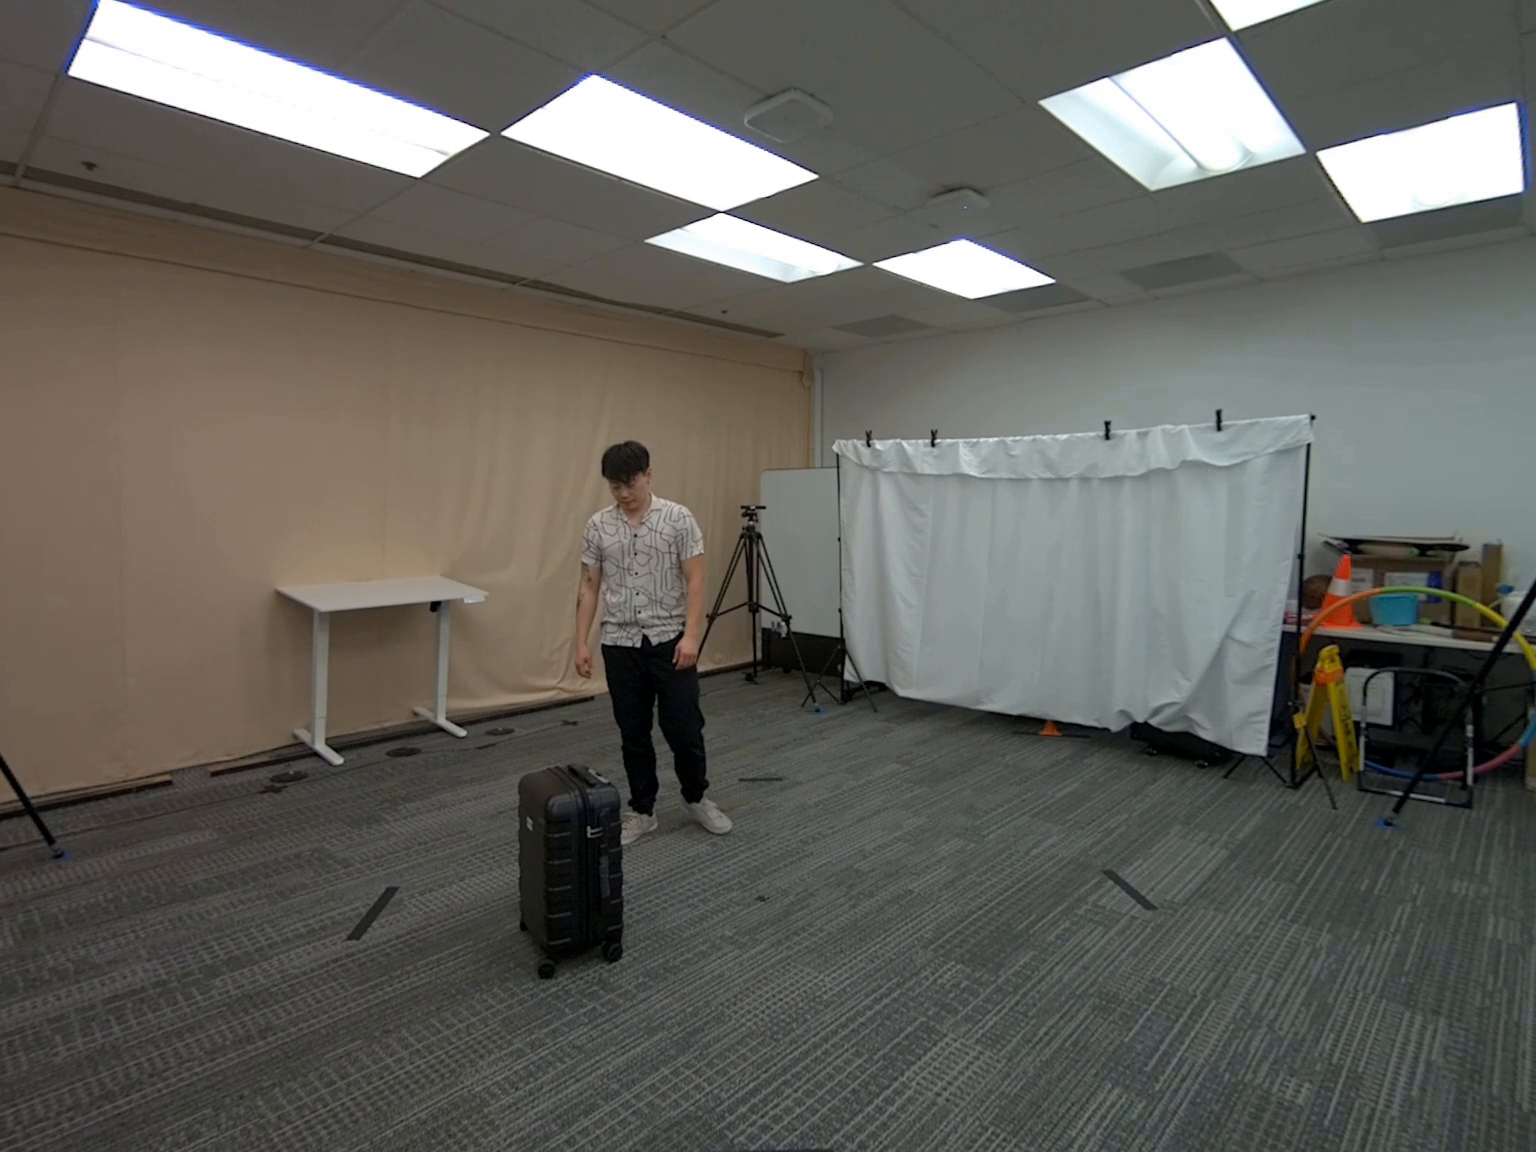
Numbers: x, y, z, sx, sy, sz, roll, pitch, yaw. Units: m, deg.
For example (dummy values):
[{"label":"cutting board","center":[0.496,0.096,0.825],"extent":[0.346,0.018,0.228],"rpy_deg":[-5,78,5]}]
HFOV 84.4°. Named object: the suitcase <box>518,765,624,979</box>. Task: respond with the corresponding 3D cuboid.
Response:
[{"label":"suitcase","center":[-0.629,0.894,2.669],"extent":[0.242,0.548,0.386],"rpy_deg":[-2,4,-29]}]
